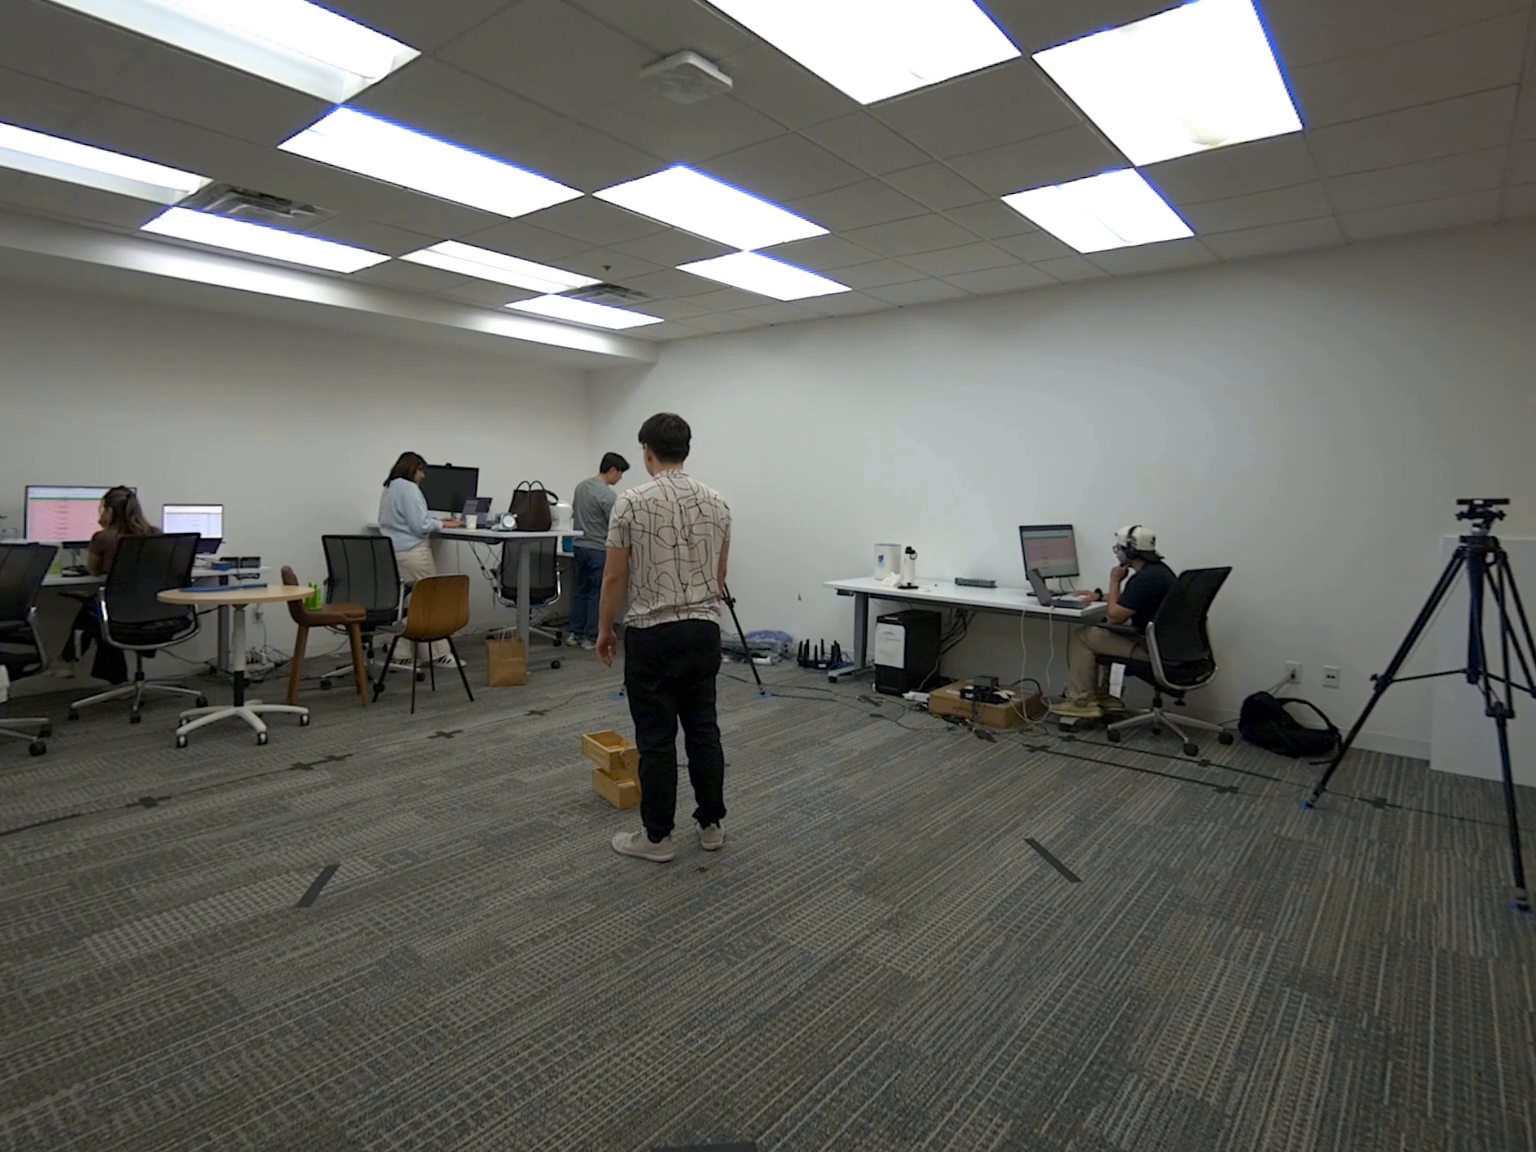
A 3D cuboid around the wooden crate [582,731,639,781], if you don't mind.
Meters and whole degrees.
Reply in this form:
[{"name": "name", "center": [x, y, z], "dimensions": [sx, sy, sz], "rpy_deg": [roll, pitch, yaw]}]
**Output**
[{"name": "wooden crate", "center": [-0.659, 0.858, 3.859], "dimensions": [0.293, 0.272, 0.335], "rpy_deg": [-3, 6, -34]}]
